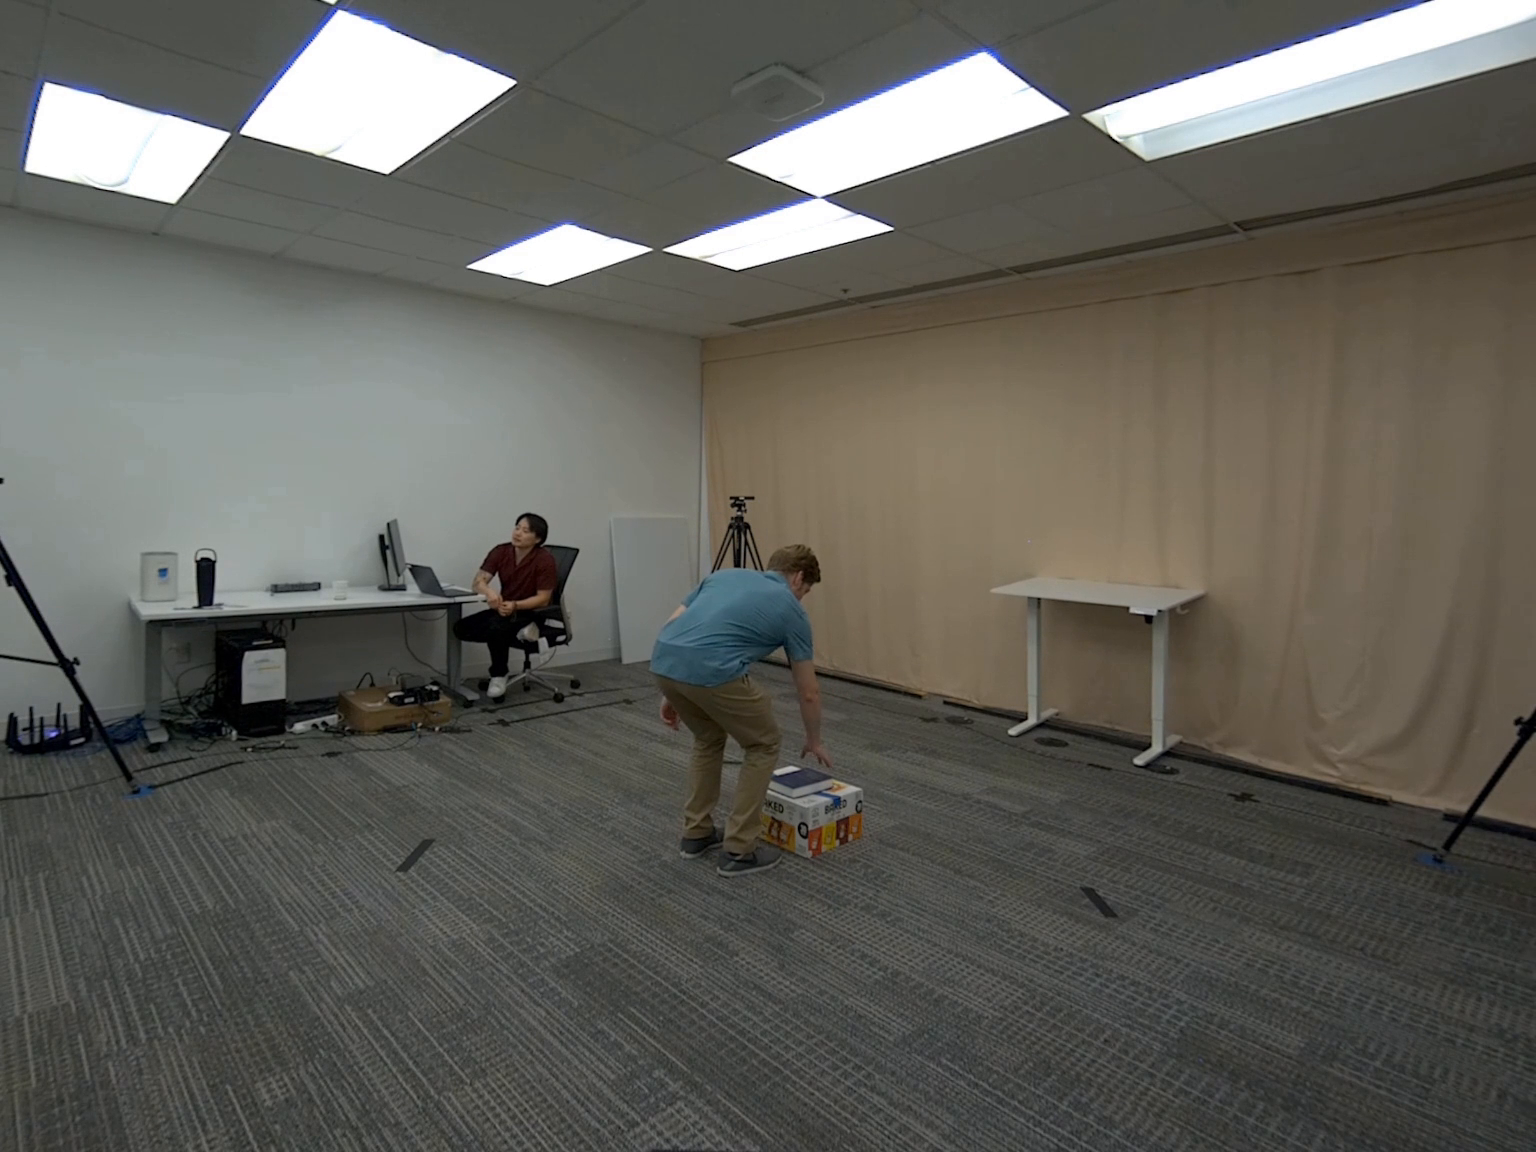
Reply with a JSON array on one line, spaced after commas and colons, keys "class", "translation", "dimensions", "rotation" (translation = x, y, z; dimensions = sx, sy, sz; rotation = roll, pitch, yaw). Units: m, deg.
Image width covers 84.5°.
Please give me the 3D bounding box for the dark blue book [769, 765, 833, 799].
[{"class": "dark blue book", "translation": [0.128, 0.857, 3.498], "dimensions": [0.239, 0.045, 0.167], "rotation": [-2, 6, -42]}]
